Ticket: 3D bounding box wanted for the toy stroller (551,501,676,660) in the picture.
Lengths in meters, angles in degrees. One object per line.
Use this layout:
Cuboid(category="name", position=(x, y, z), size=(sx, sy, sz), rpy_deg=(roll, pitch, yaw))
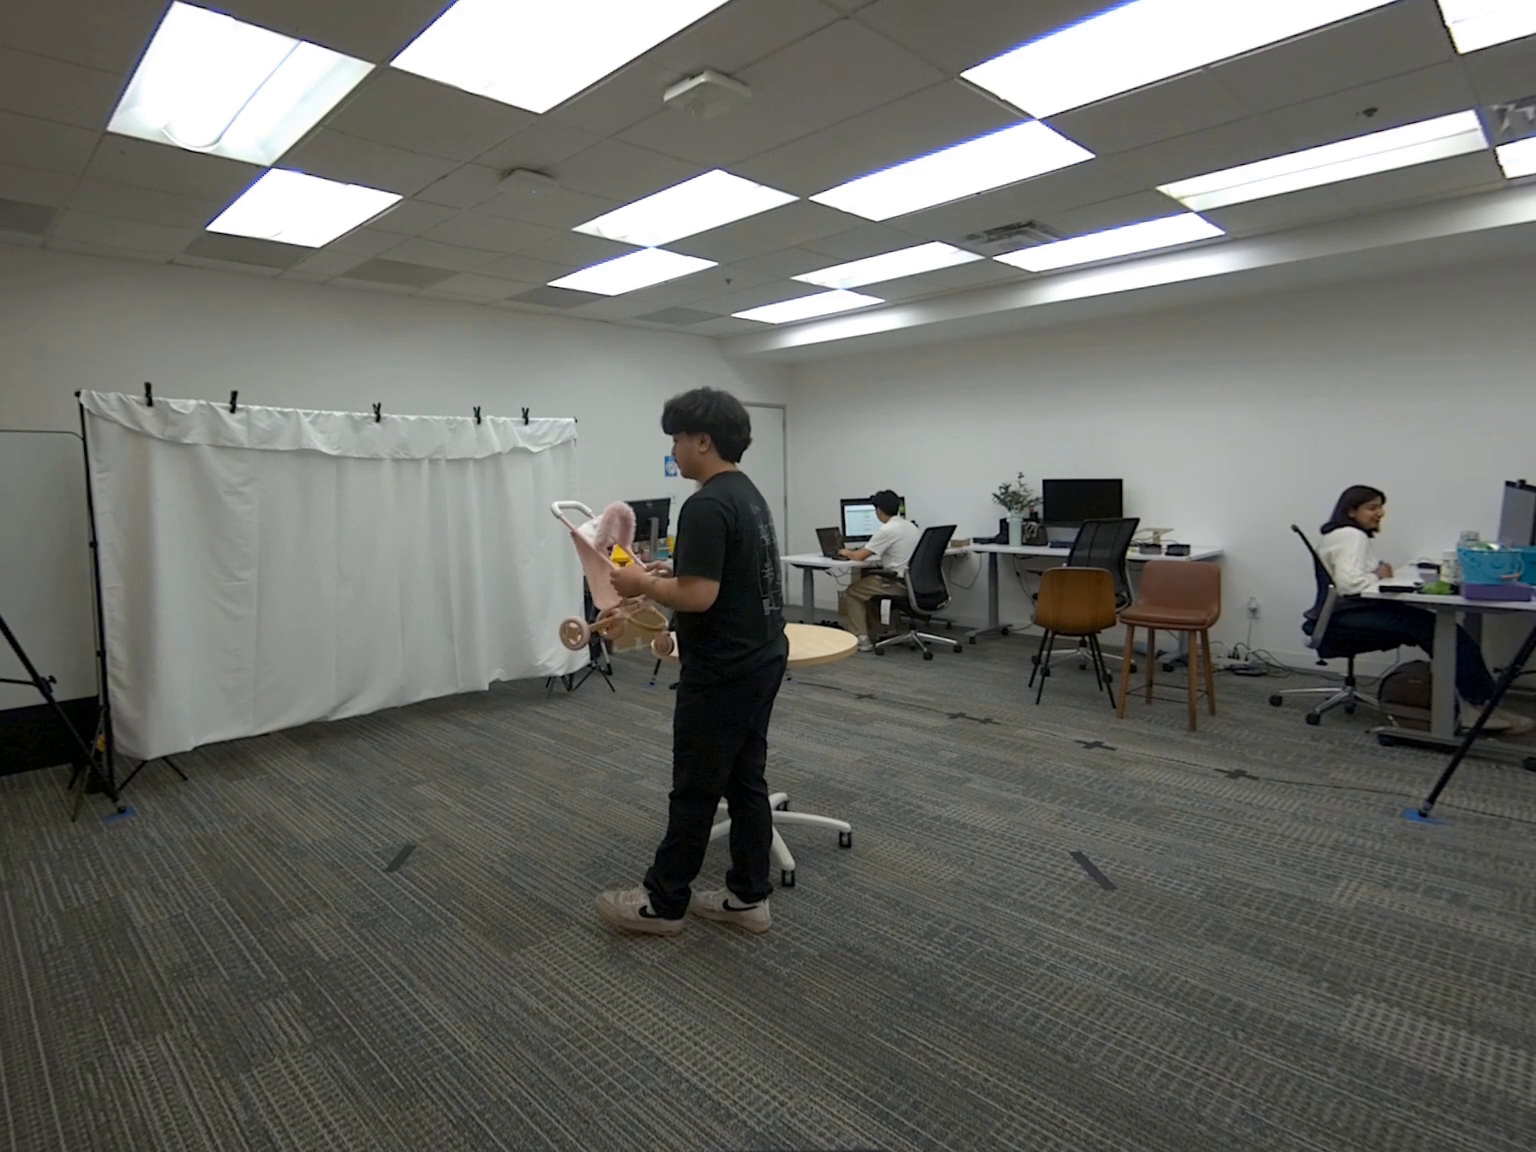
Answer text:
Cuboid(category="toy stroller", position=(-0.486, 0.004, 2.734), size=(0.348, 0.536, 0.276), rpy_deg=(-8, -2, 24))
